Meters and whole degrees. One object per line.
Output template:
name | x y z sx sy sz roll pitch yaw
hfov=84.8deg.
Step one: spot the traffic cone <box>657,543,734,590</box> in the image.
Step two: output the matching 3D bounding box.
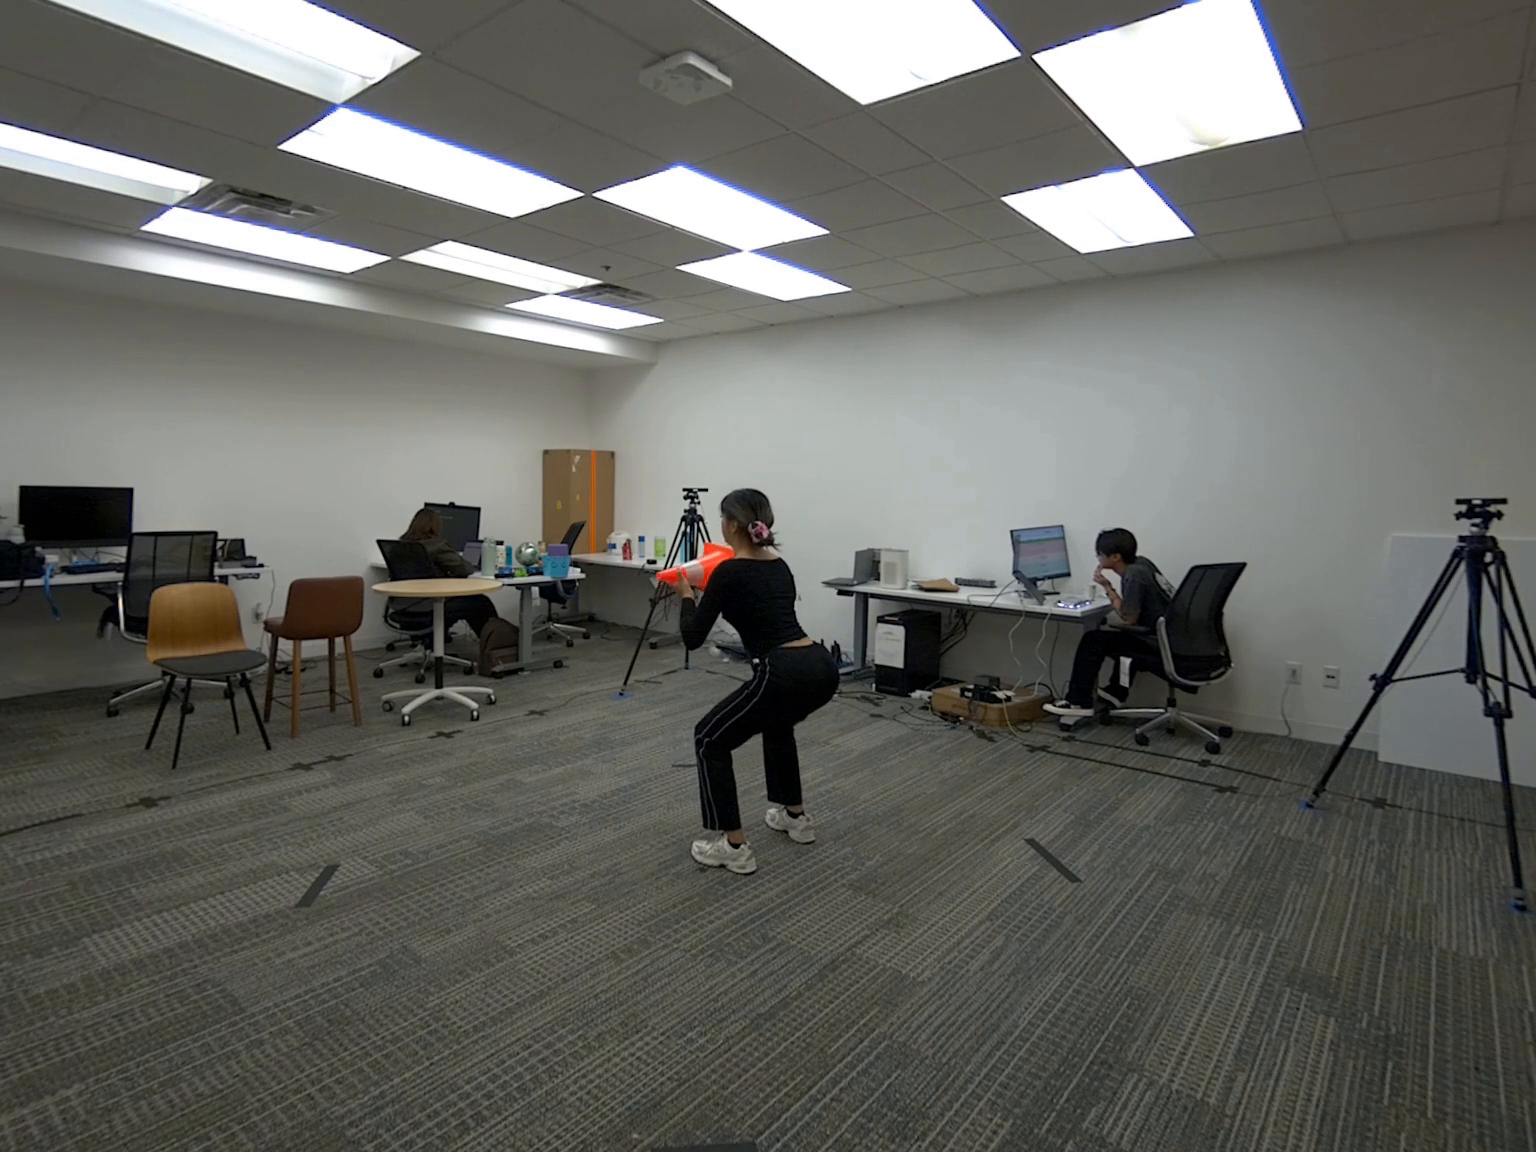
traffic cone | -0.321 -0.017 3.483 0.211 0.203 0.373 15 13 36
